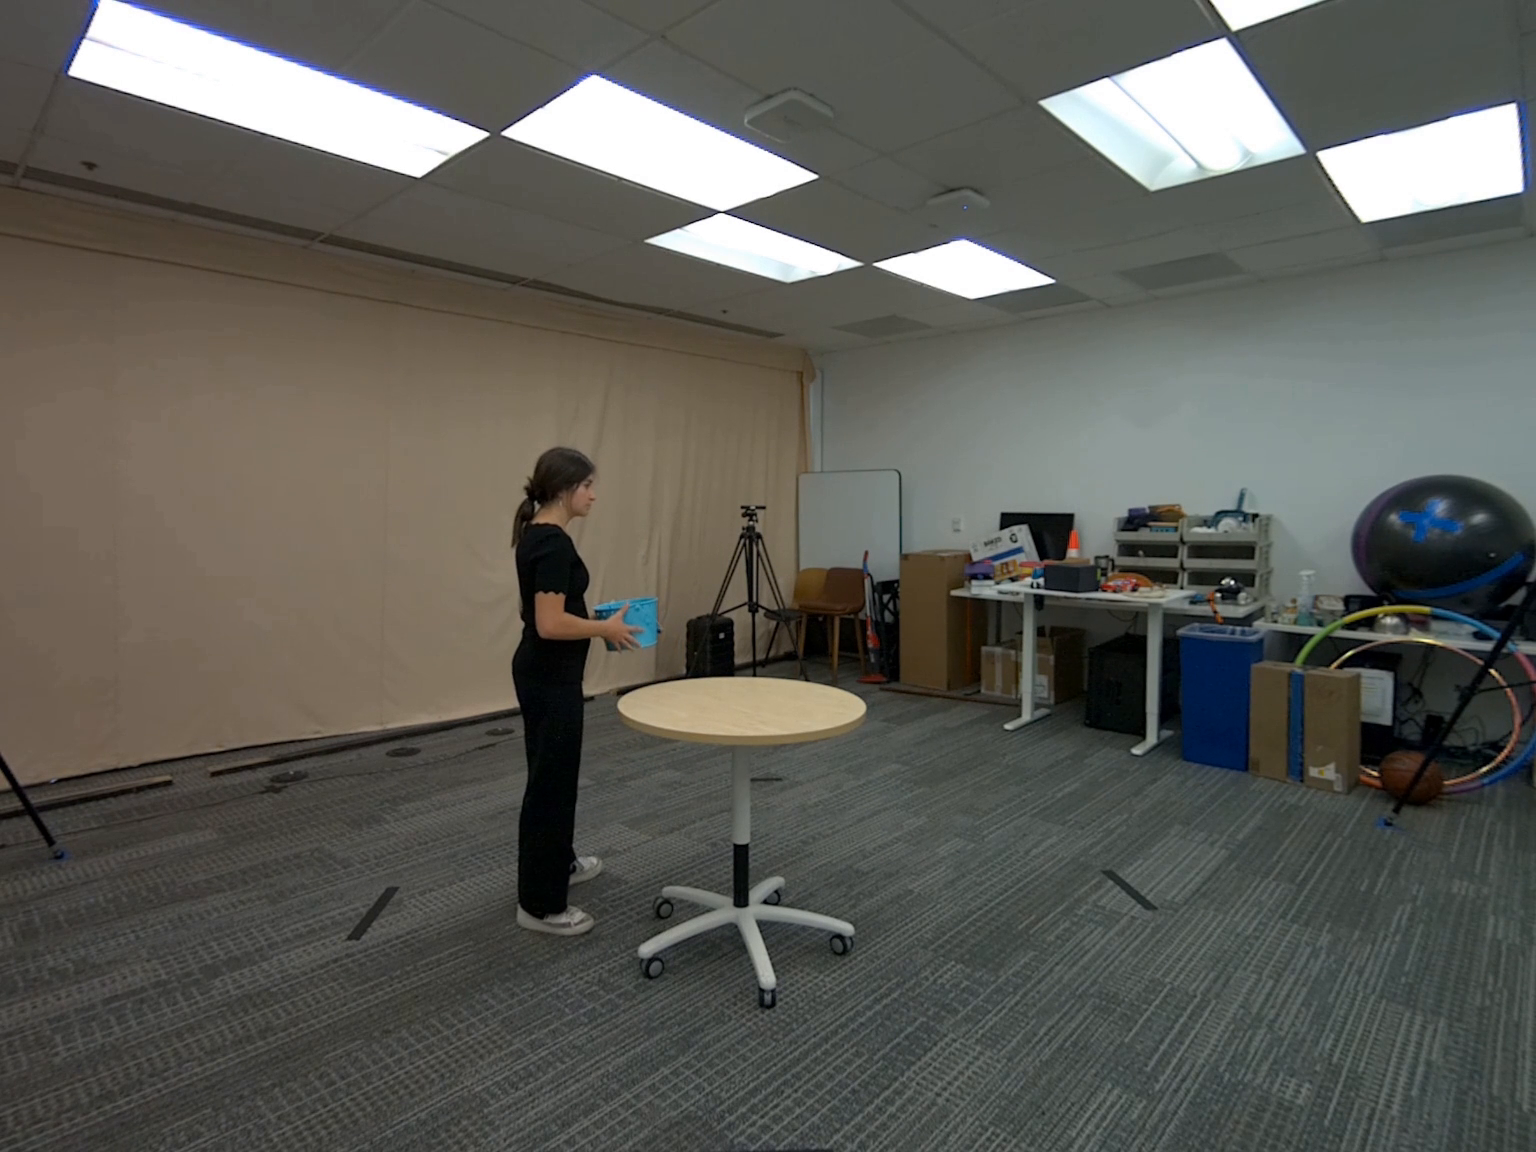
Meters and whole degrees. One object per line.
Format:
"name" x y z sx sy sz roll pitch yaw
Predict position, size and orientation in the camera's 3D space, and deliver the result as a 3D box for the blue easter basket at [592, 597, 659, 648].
"blue easter basket" -0.496 0.172 2.959 0.243 0.155 0.244 -8 4 -1
